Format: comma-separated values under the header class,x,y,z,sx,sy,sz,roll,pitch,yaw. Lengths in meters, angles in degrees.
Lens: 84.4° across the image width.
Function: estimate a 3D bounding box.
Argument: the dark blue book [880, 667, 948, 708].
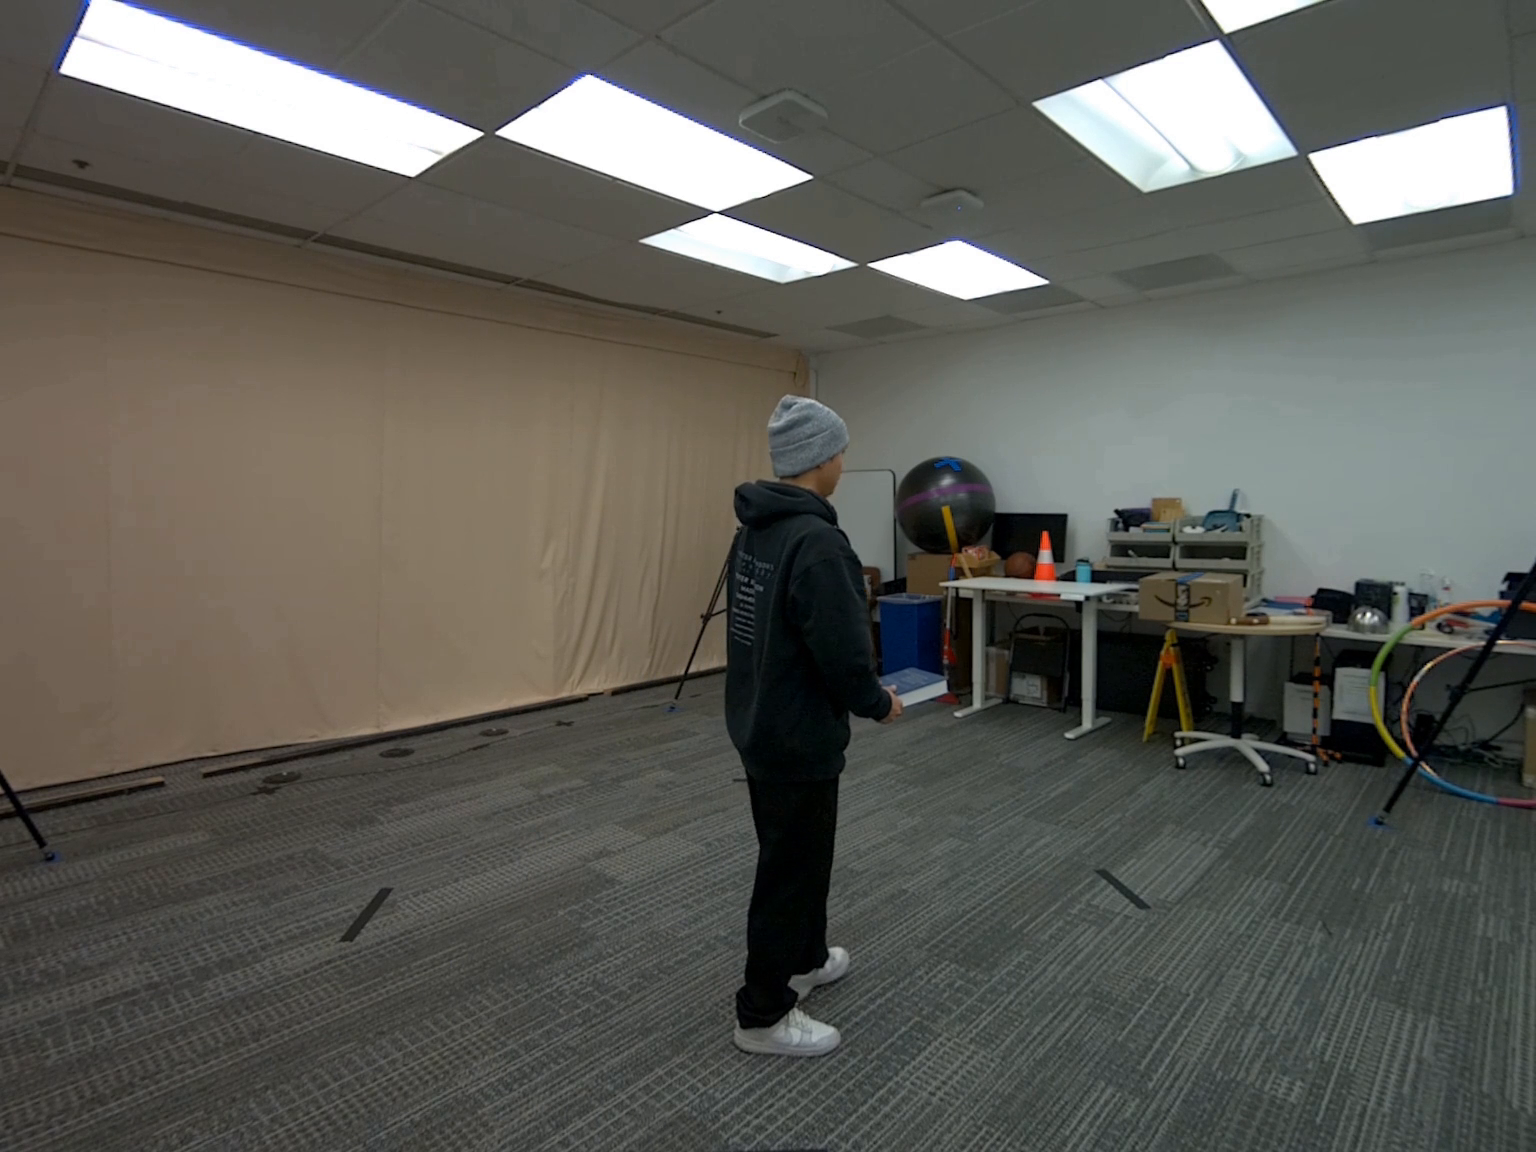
class,x,y,z,sx,sy,sz,roll,pitch,yaw
dark blue book,0.336,0.319,2.287,0.242,0.045,0.166,-9,9,-14
